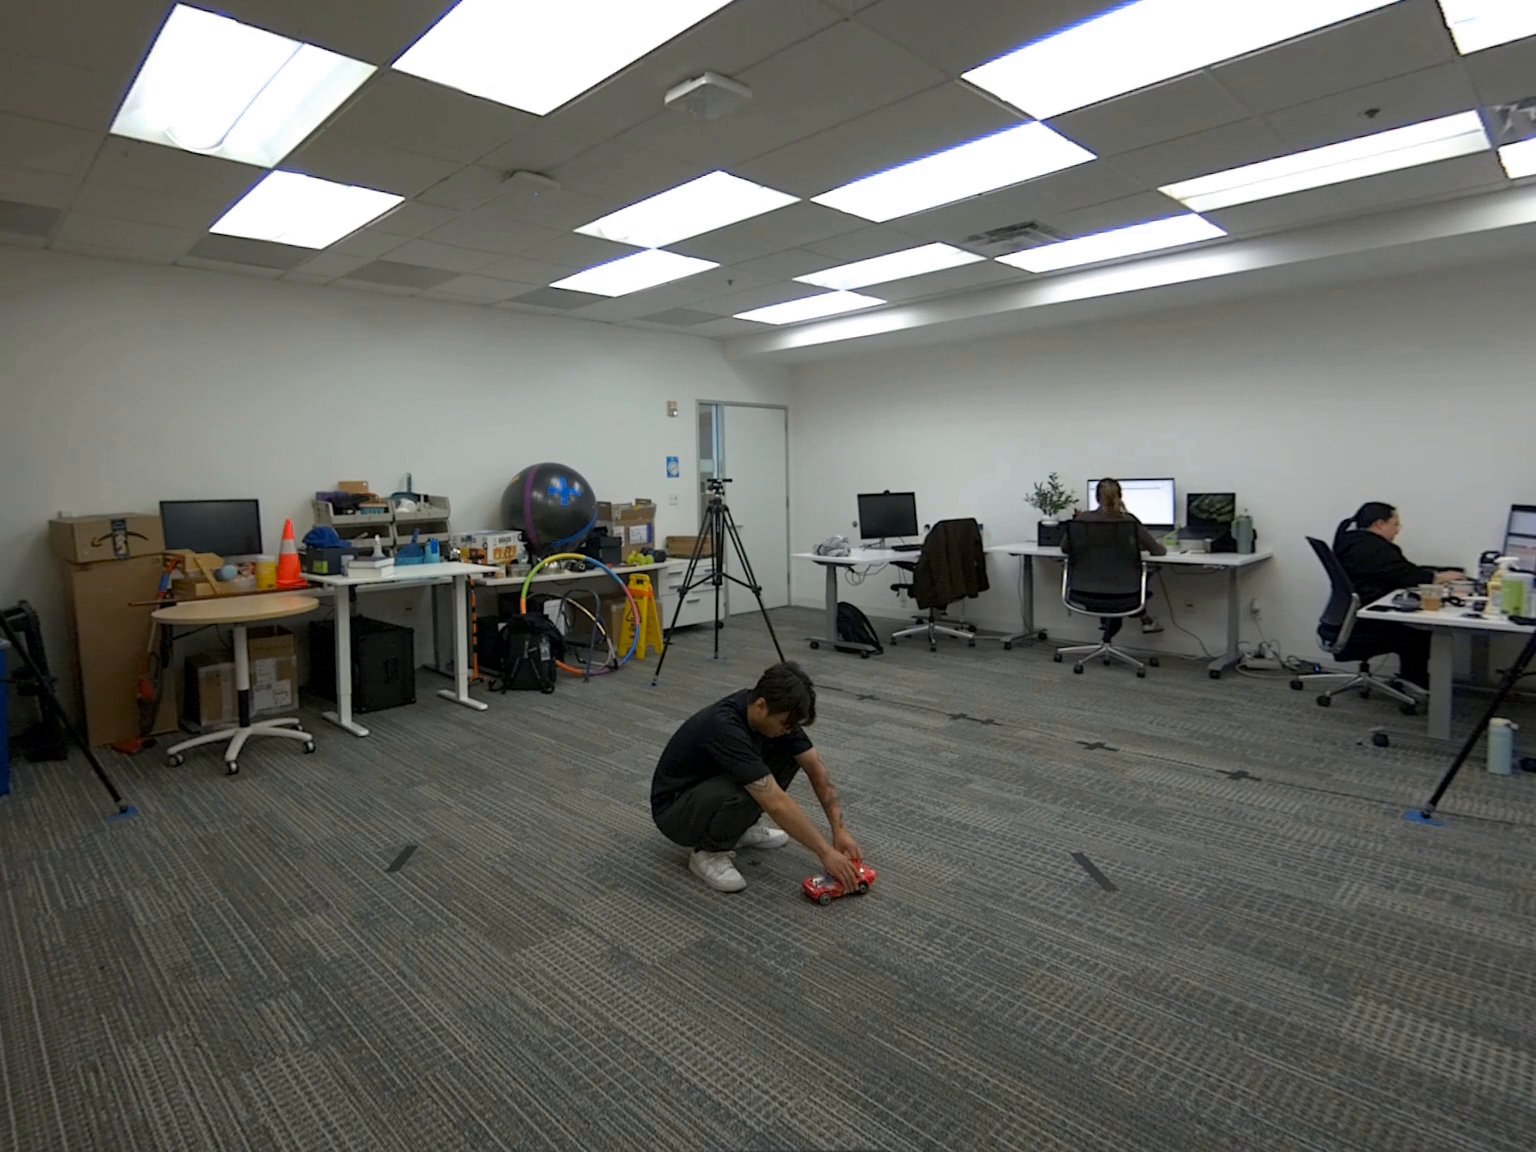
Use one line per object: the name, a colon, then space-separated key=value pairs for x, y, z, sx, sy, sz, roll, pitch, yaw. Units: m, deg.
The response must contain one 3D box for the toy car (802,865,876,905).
toy car: x=0.249 y=1.031 z=2.876 sx=0.251 sy=0.082 sz=0.133 roll=-17 pitch=10 yaw=-24
